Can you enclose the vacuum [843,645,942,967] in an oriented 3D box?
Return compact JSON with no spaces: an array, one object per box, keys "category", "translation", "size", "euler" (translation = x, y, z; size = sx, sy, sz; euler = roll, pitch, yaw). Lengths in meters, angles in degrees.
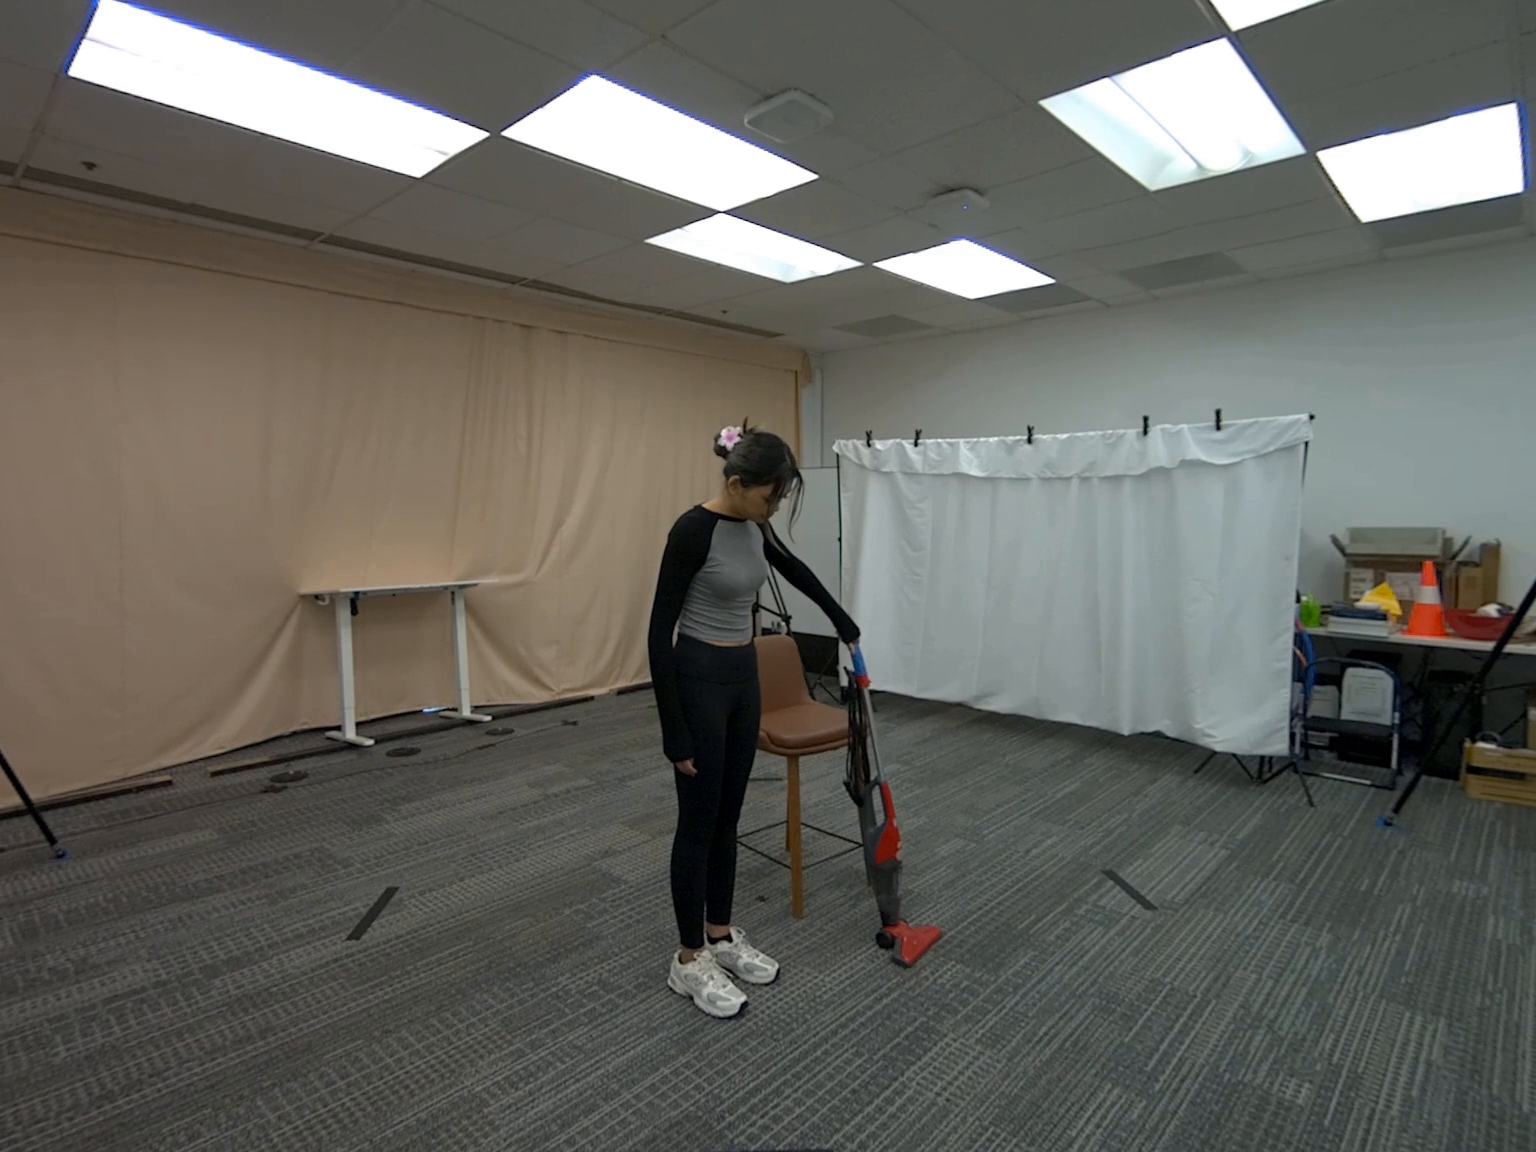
[{"category":"vacuum","translation":[0.343,0.663,2.711],"size":[0.148,1.053,0.245],"euler":[-15,-6,40]}]
